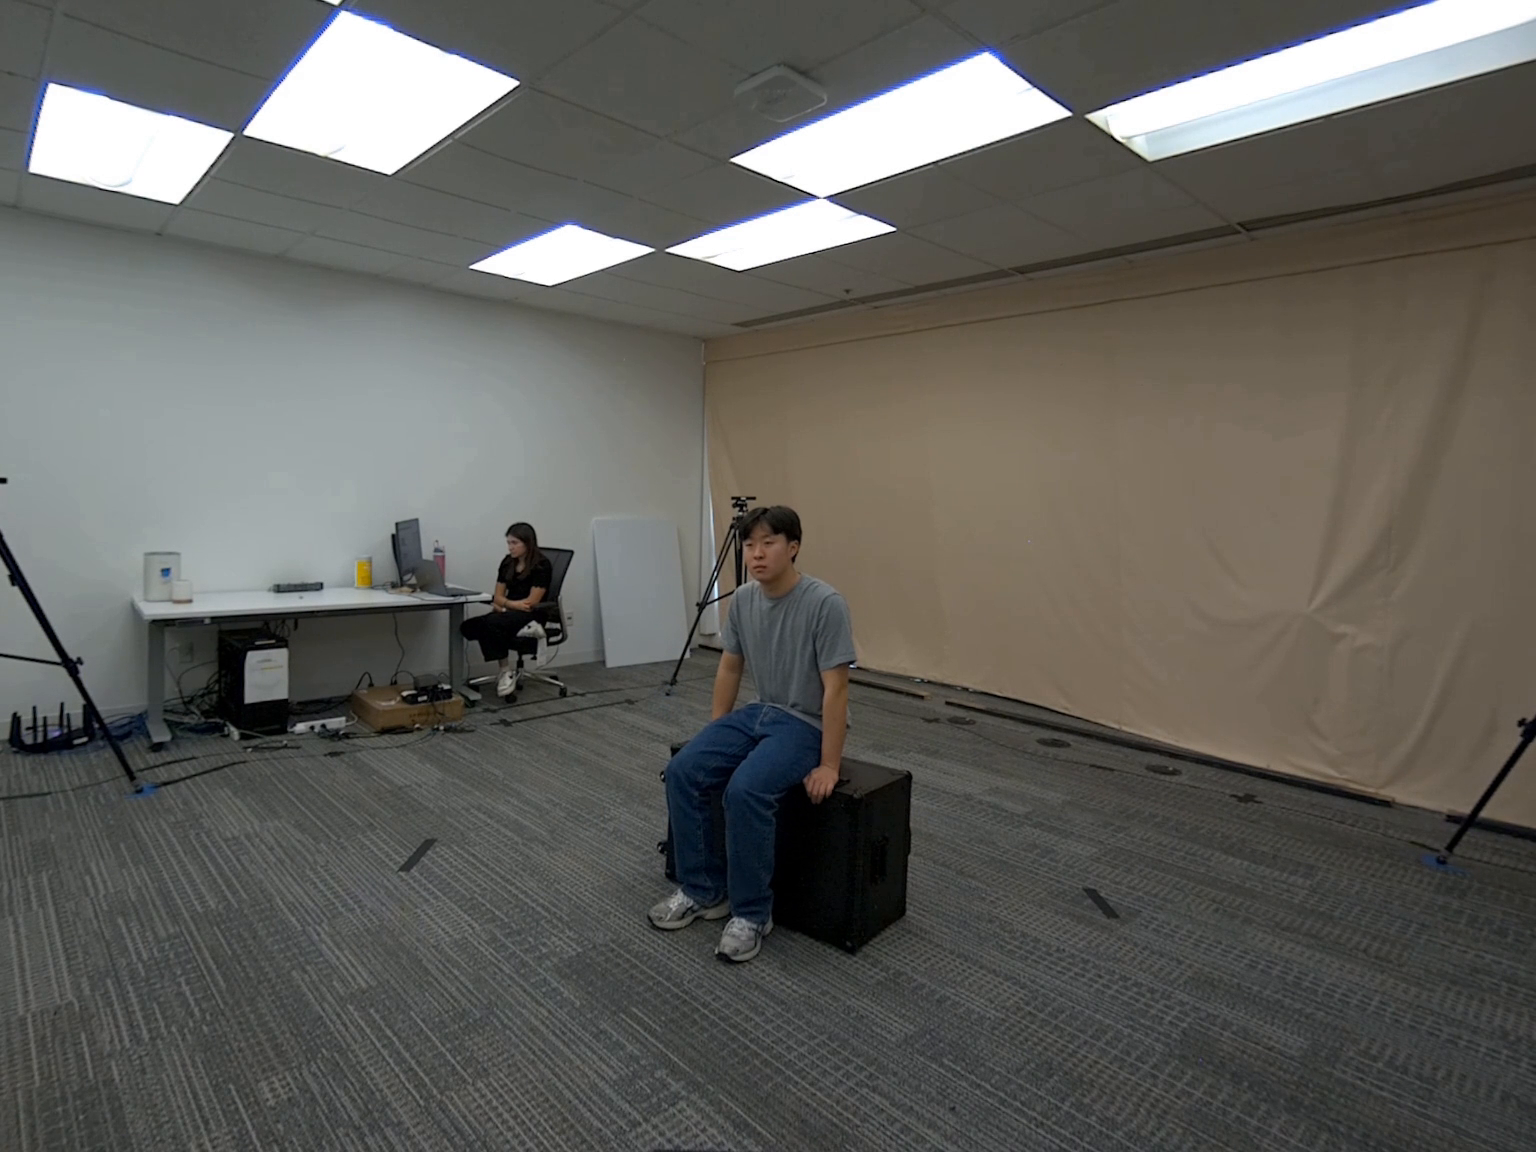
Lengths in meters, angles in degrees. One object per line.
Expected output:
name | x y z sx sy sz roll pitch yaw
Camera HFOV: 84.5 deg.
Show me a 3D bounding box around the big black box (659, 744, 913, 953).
big black box | 0.032 0.870 2.966 0.882 0.520 0.387 5 3 37
